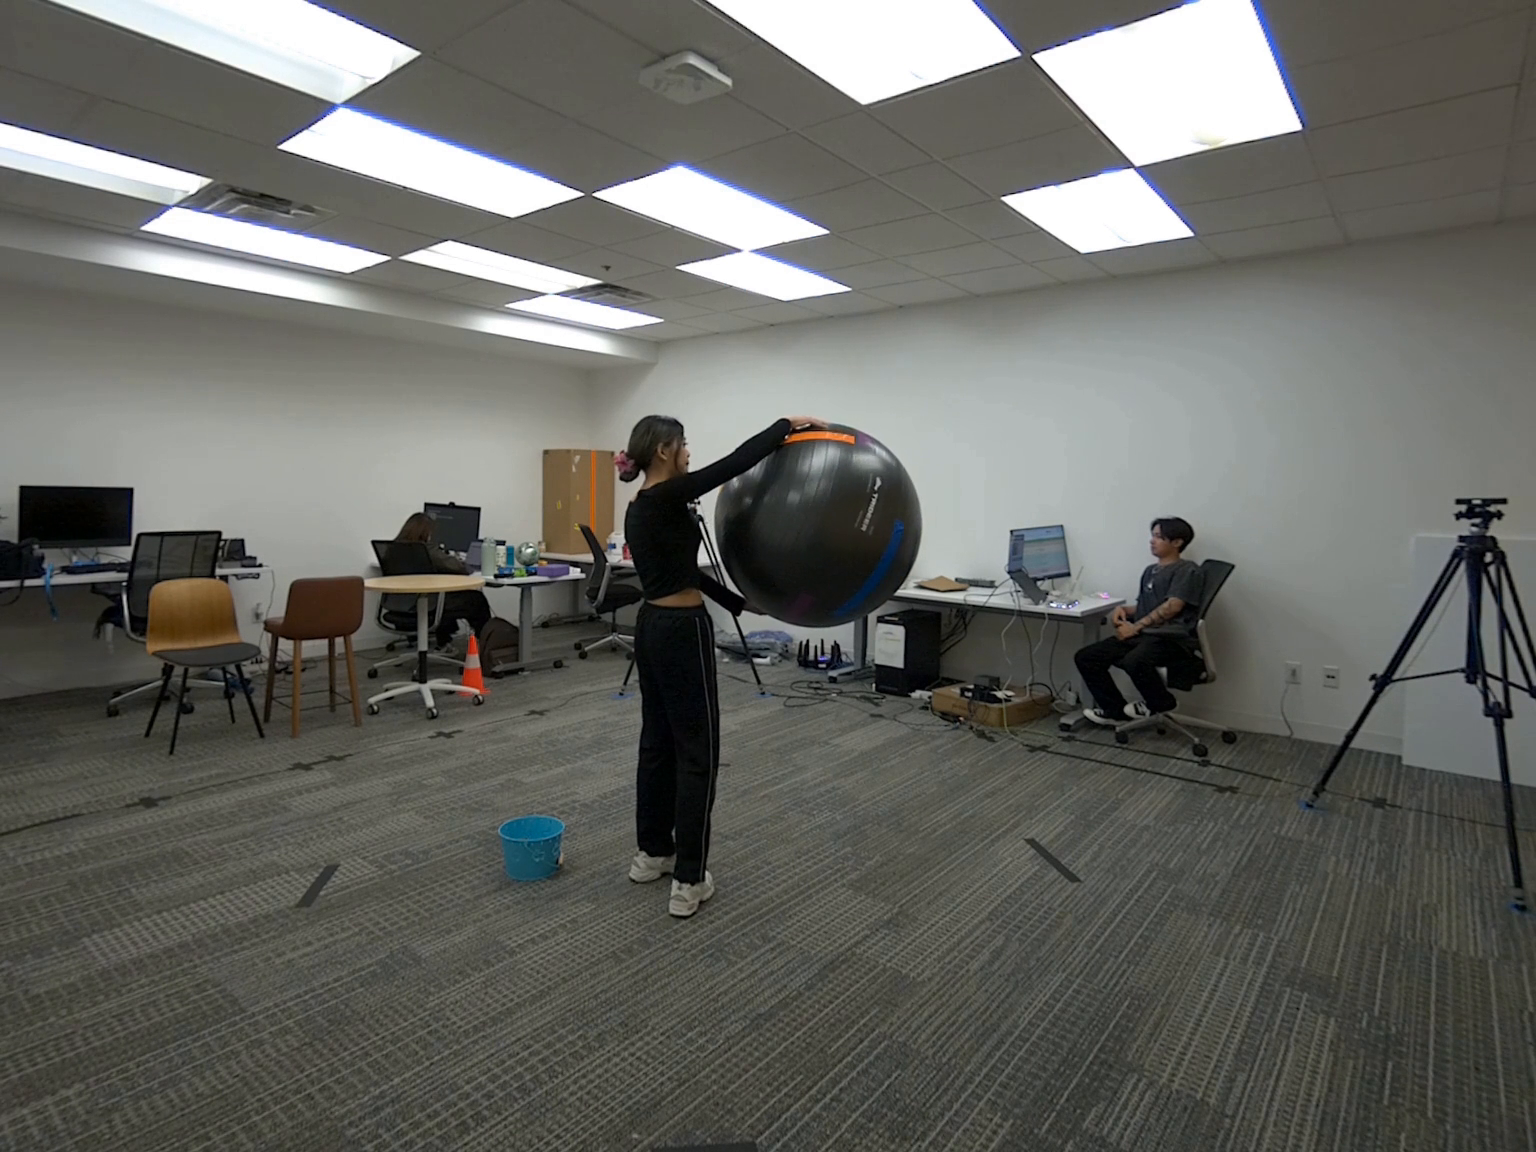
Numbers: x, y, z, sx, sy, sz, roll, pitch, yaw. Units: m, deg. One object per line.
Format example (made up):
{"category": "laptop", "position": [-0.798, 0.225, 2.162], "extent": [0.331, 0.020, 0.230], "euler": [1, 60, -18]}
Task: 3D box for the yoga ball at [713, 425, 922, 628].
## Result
{"category": "yoga ball", "position": [0.178, -0.188, 3.148], "extent": [0.757, 0.755, 0.762], "euler": [1, 4, -2]}
